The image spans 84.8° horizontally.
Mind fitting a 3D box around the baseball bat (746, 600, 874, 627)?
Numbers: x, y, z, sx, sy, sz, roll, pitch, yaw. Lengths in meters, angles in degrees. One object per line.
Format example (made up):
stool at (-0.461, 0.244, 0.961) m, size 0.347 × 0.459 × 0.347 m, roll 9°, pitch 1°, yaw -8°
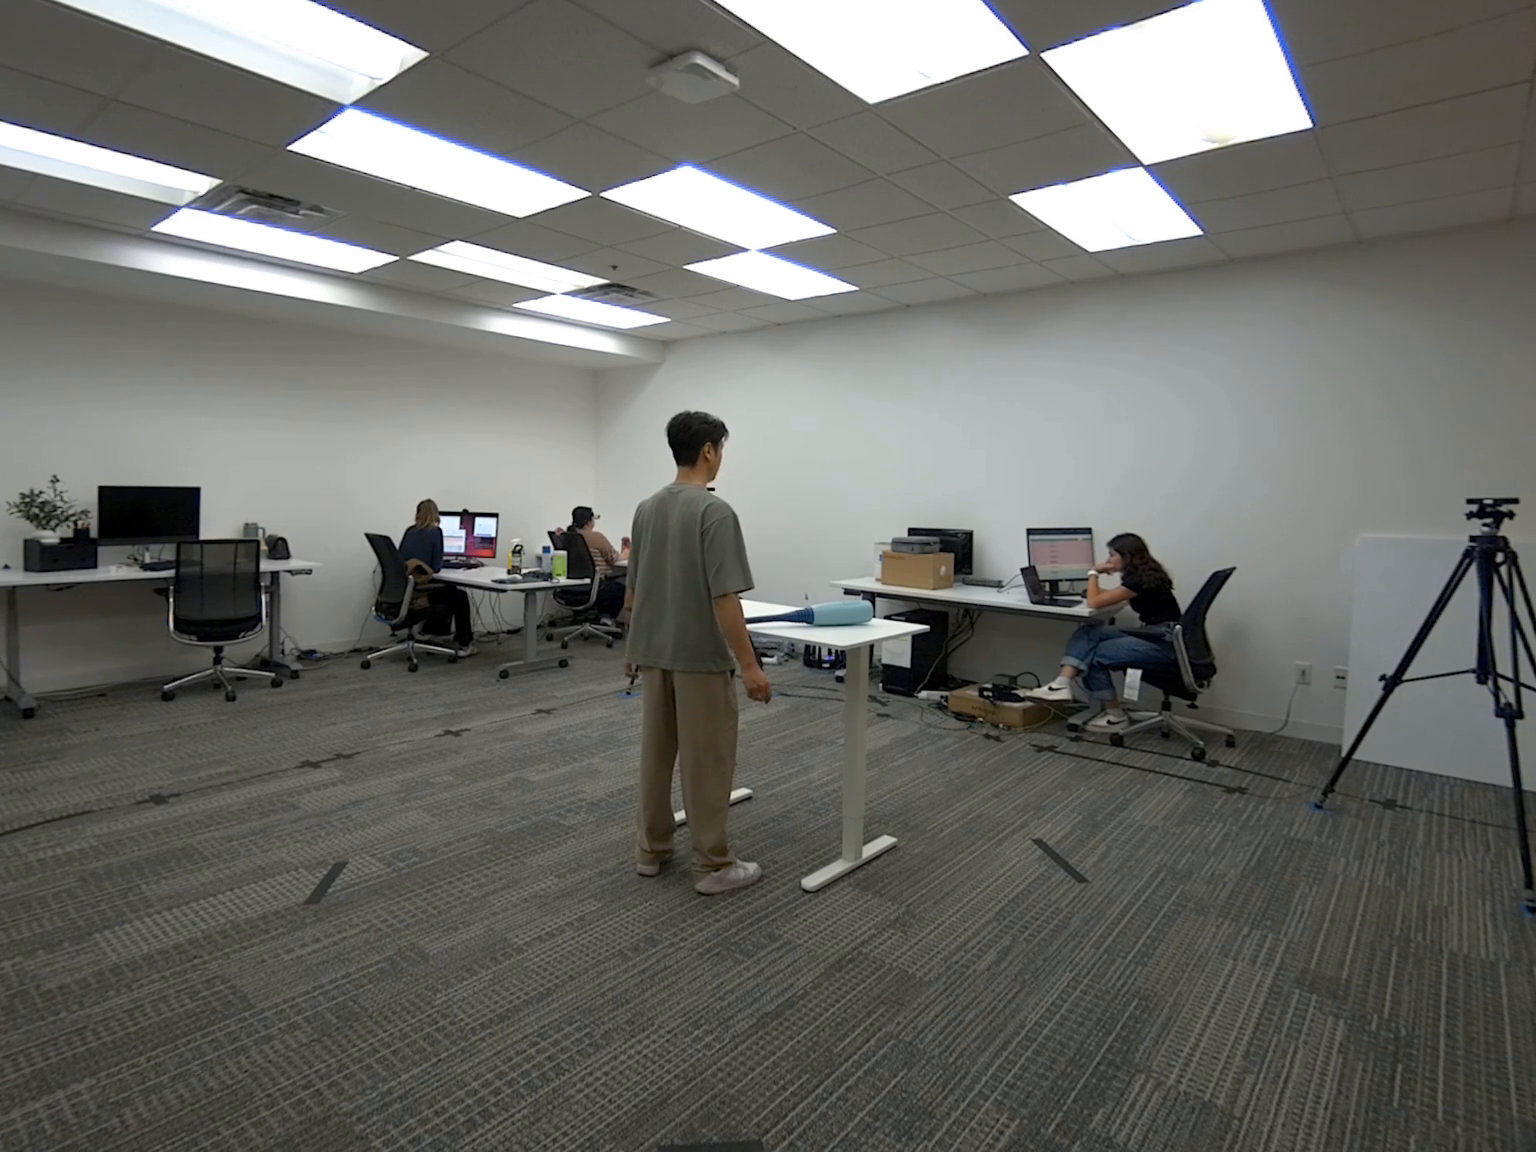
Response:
baseball bat at (0.130, 0.152, 3.172) m, size 0.533 × 0.089 × 0.091 m, roll -4°, pitch 5°, yaw -19°
